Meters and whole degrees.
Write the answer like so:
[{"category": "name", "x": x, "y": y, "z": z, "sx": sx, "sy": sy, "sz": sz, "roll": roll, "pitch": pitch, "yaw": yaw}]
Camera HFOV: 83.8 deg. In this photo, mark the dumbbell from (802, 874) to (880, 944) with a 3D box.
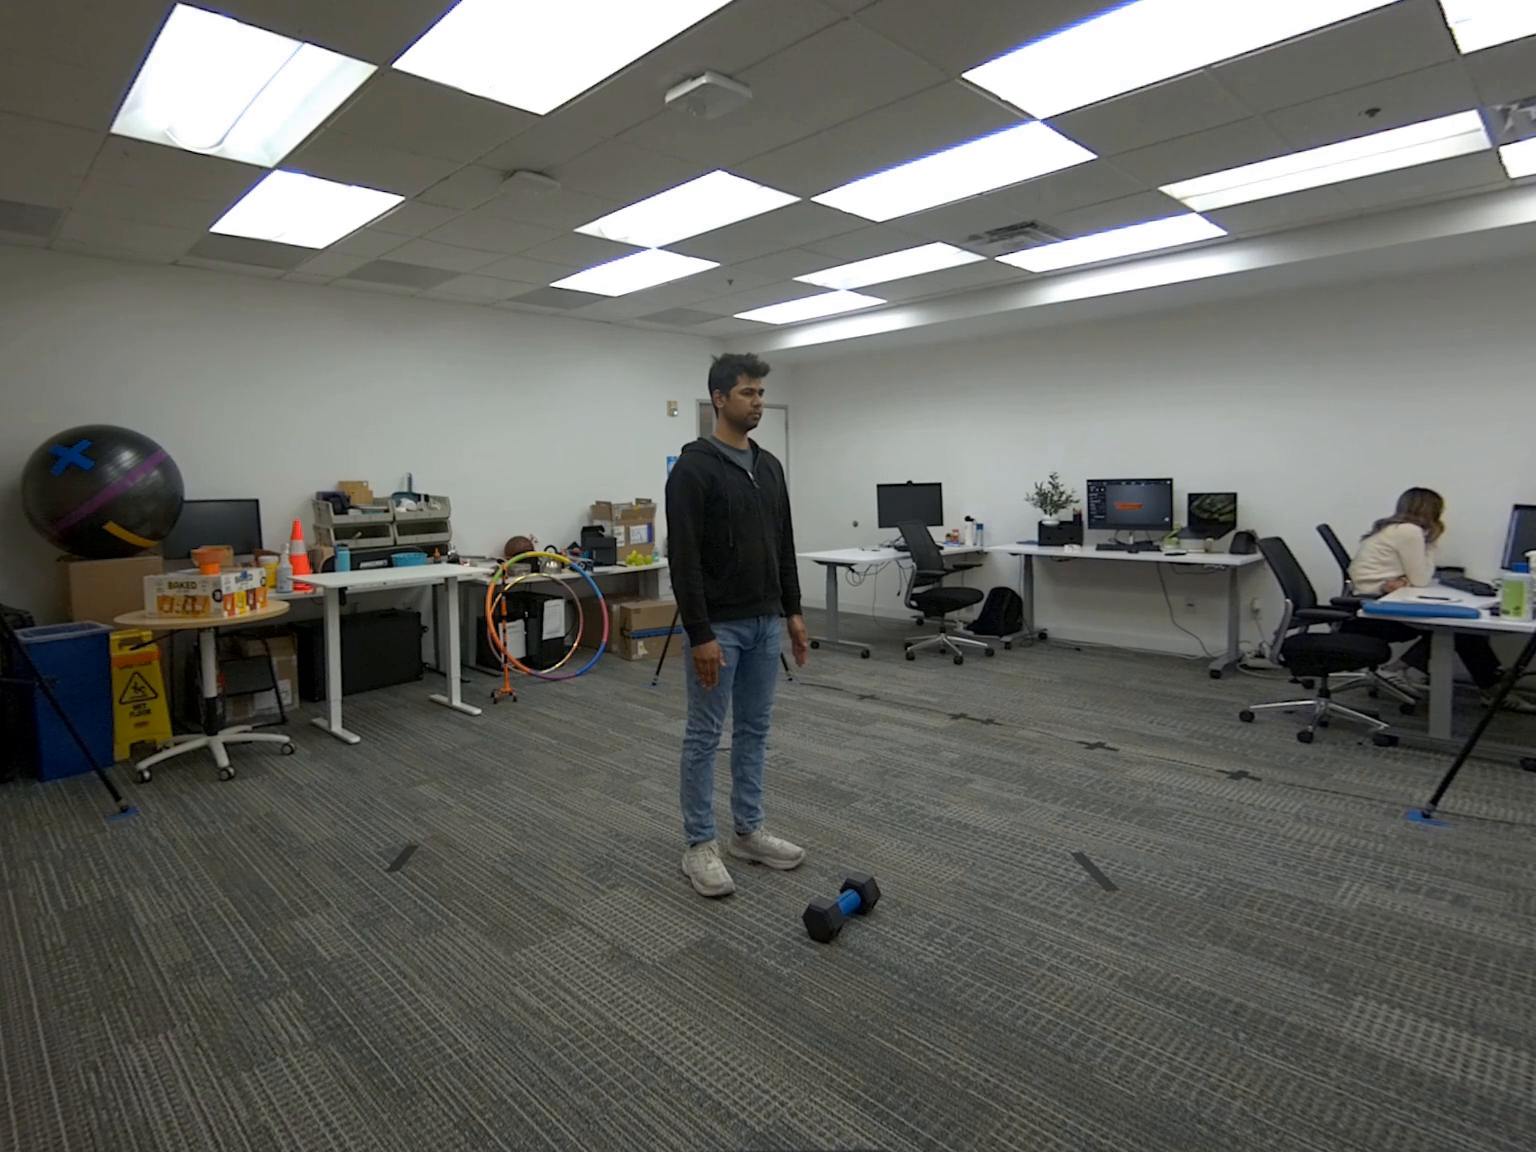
[{"category": "dumbbell", "x": 0.239, "y": 1.035, "z": 2.677, "sx": 0.126, "sy": 0.108, "sz": 0.286, "roll": 1, "pitch": 6, "yaw": 38}]
